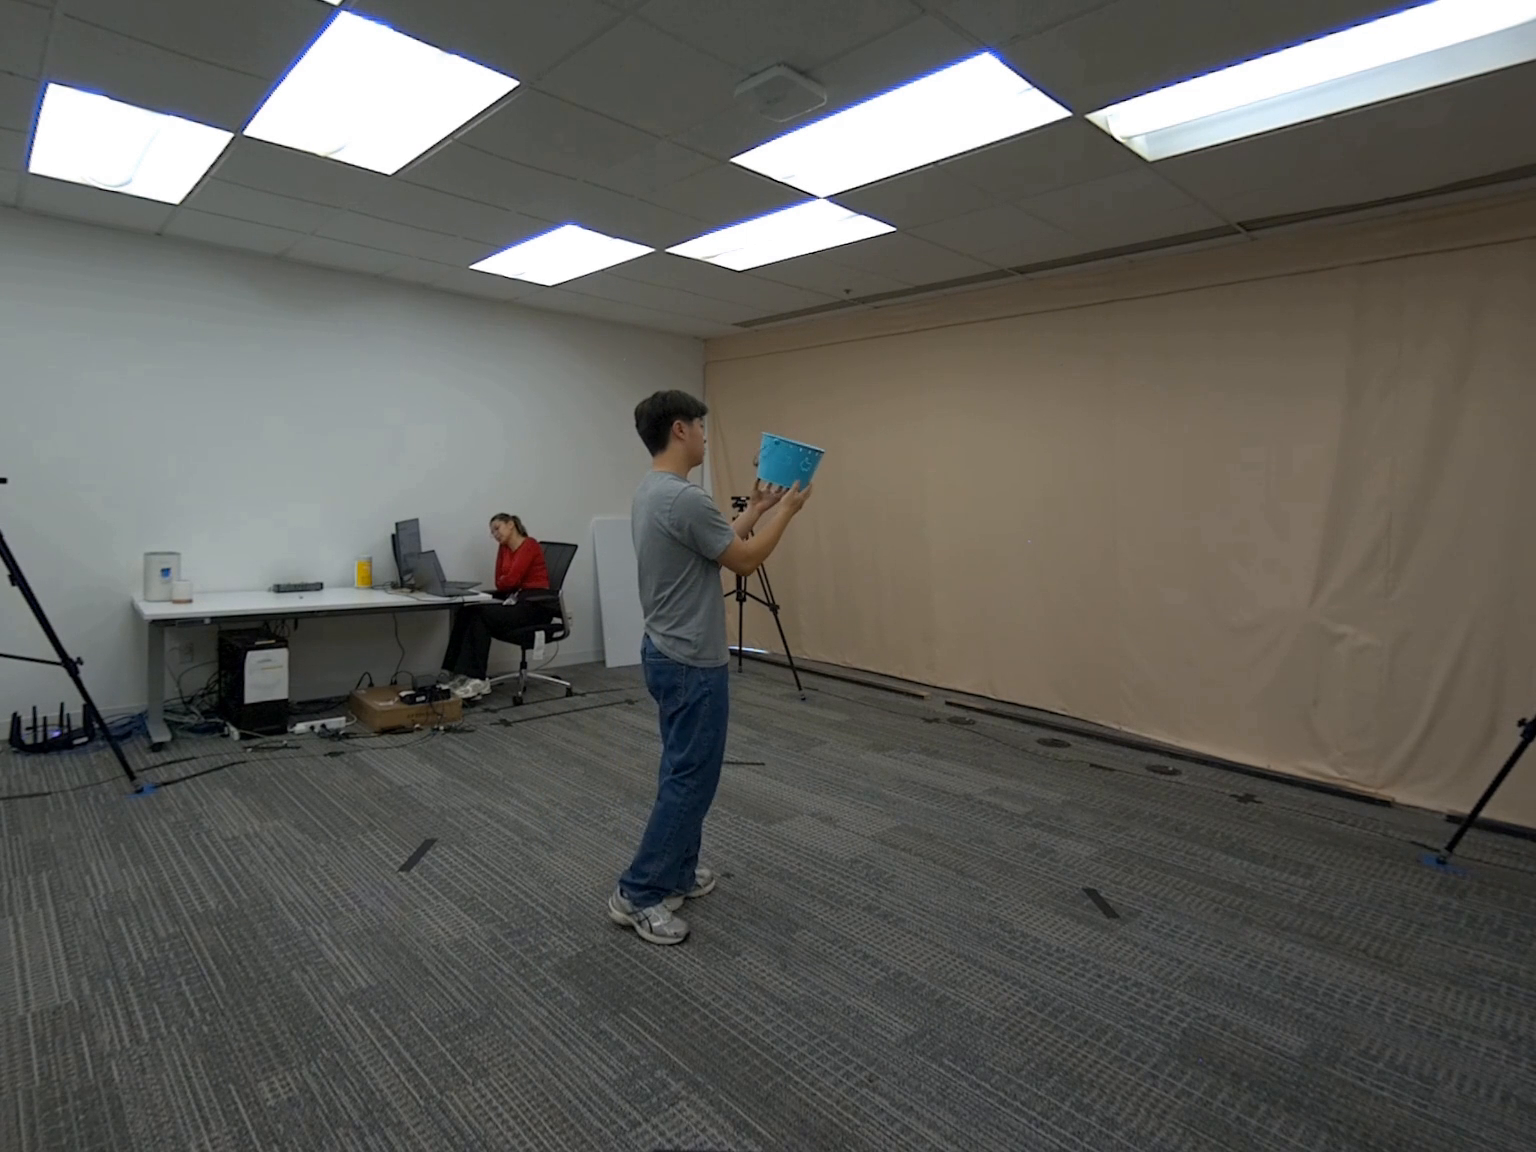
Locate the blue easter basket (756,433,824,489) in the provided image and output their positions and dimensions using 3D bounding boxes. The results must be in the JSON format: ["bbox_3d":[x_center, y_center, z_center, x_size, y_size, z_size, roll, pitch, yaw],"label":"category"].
[{"bbox_3d":[0.059,-0.394,2.917,0.243,0.155,0.246,17,10,-4],"label":"blue easter basket"}]
